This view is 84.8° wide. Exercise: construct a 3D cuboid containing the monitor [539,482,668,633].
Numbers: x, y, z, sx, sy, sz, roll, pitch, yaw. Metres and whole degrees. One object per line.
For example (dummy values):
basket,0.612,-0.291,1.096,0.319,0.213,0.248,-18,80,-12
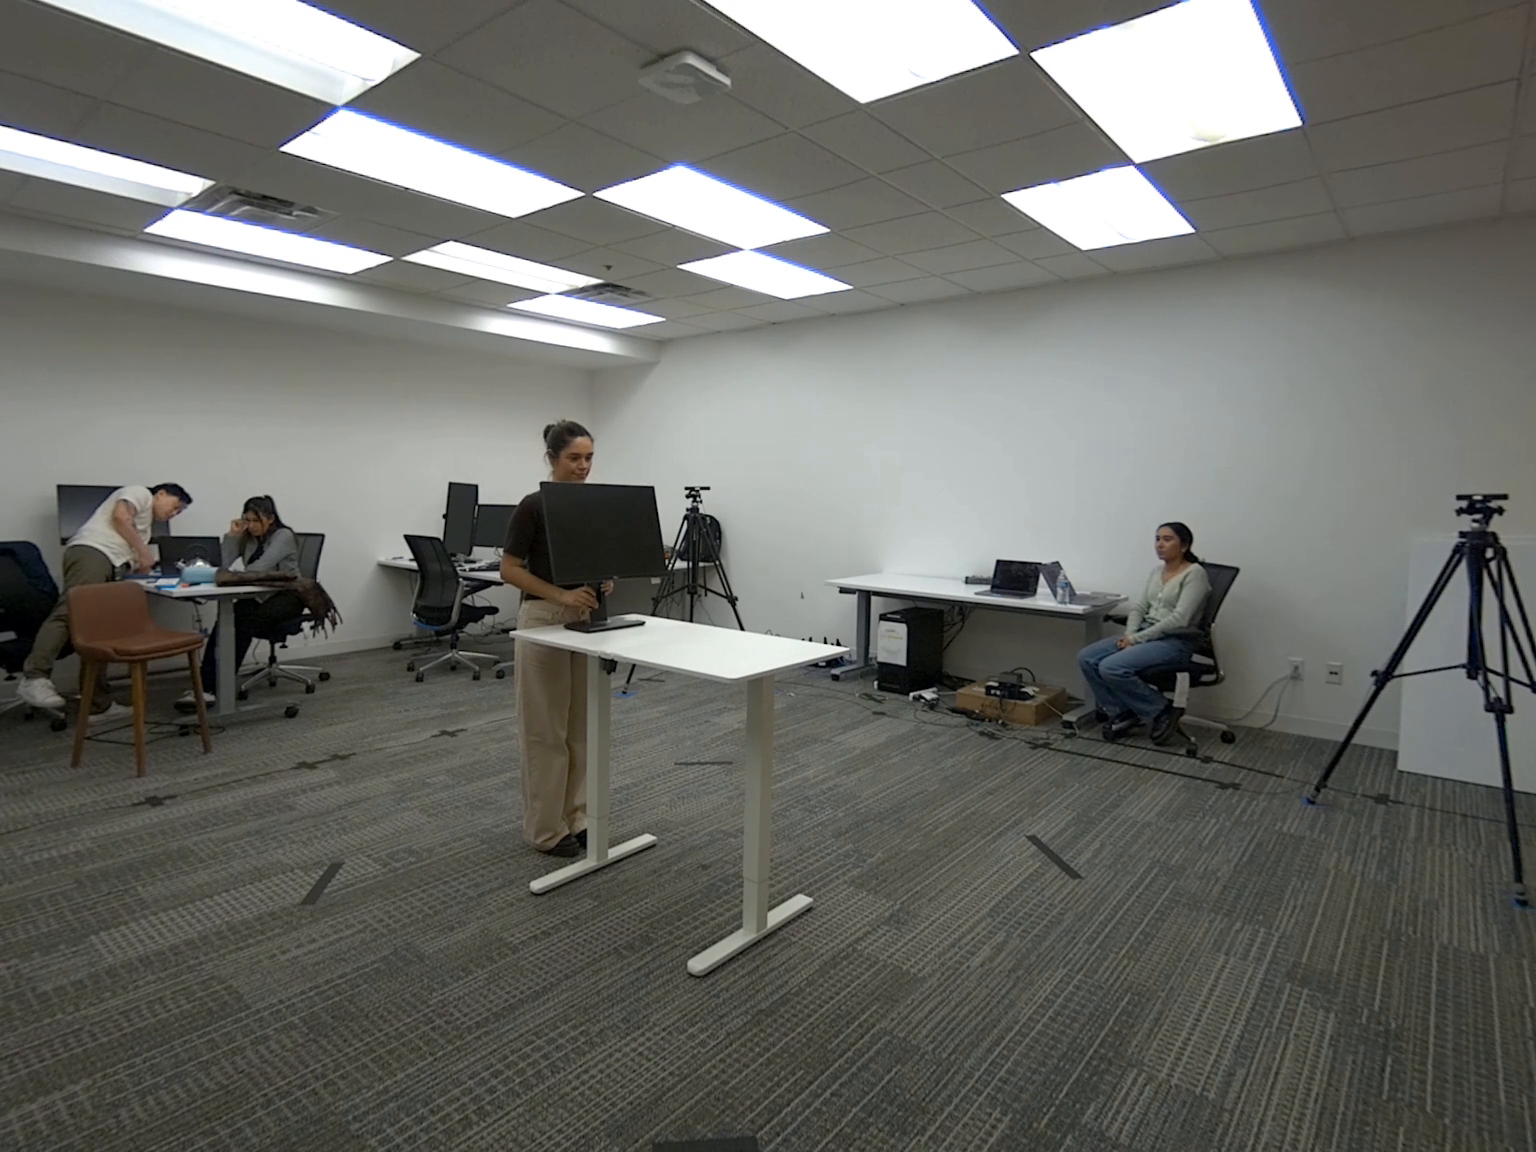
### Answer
monitor,-0.607,-0.075,3.055,0.180,0.514,0.514,6,4,37
